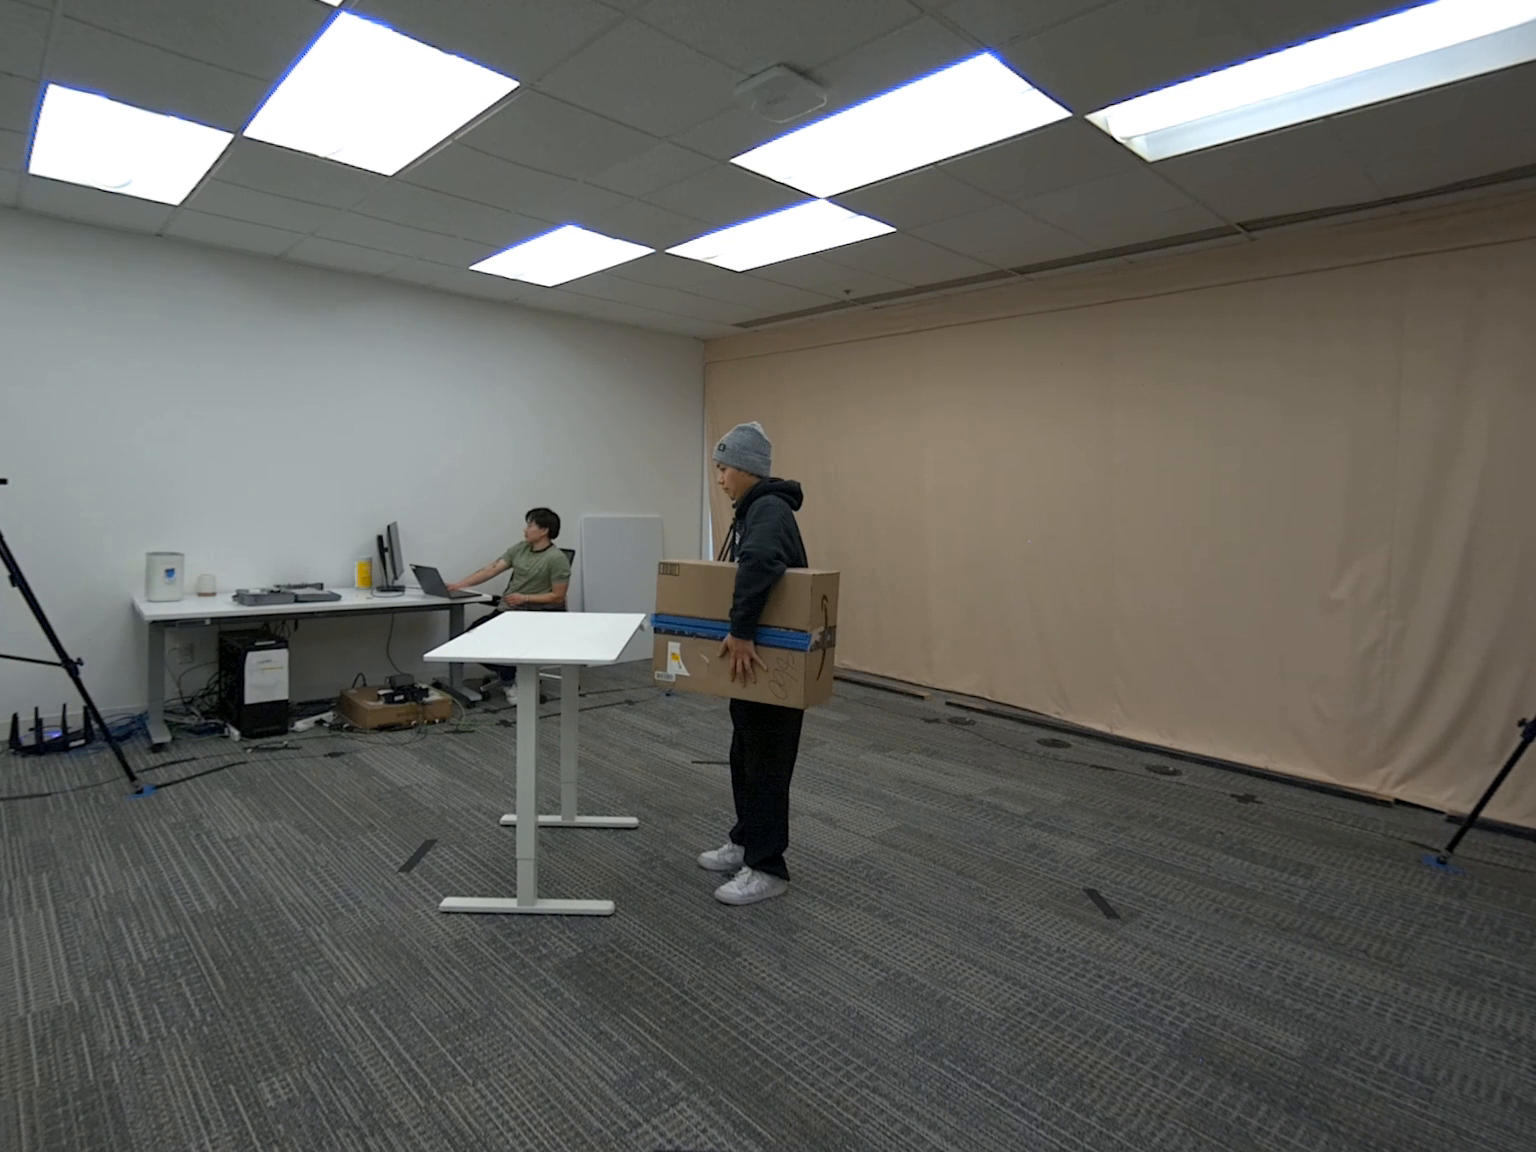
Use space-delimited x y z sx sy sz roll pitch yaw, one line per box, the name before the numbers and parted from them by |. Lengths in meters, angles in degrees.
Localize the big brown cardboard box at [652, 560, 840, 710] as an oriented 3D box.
big brown cardboard box | -0.088 0.173 2.757 0.601 0.417 0.229 4 3 26
